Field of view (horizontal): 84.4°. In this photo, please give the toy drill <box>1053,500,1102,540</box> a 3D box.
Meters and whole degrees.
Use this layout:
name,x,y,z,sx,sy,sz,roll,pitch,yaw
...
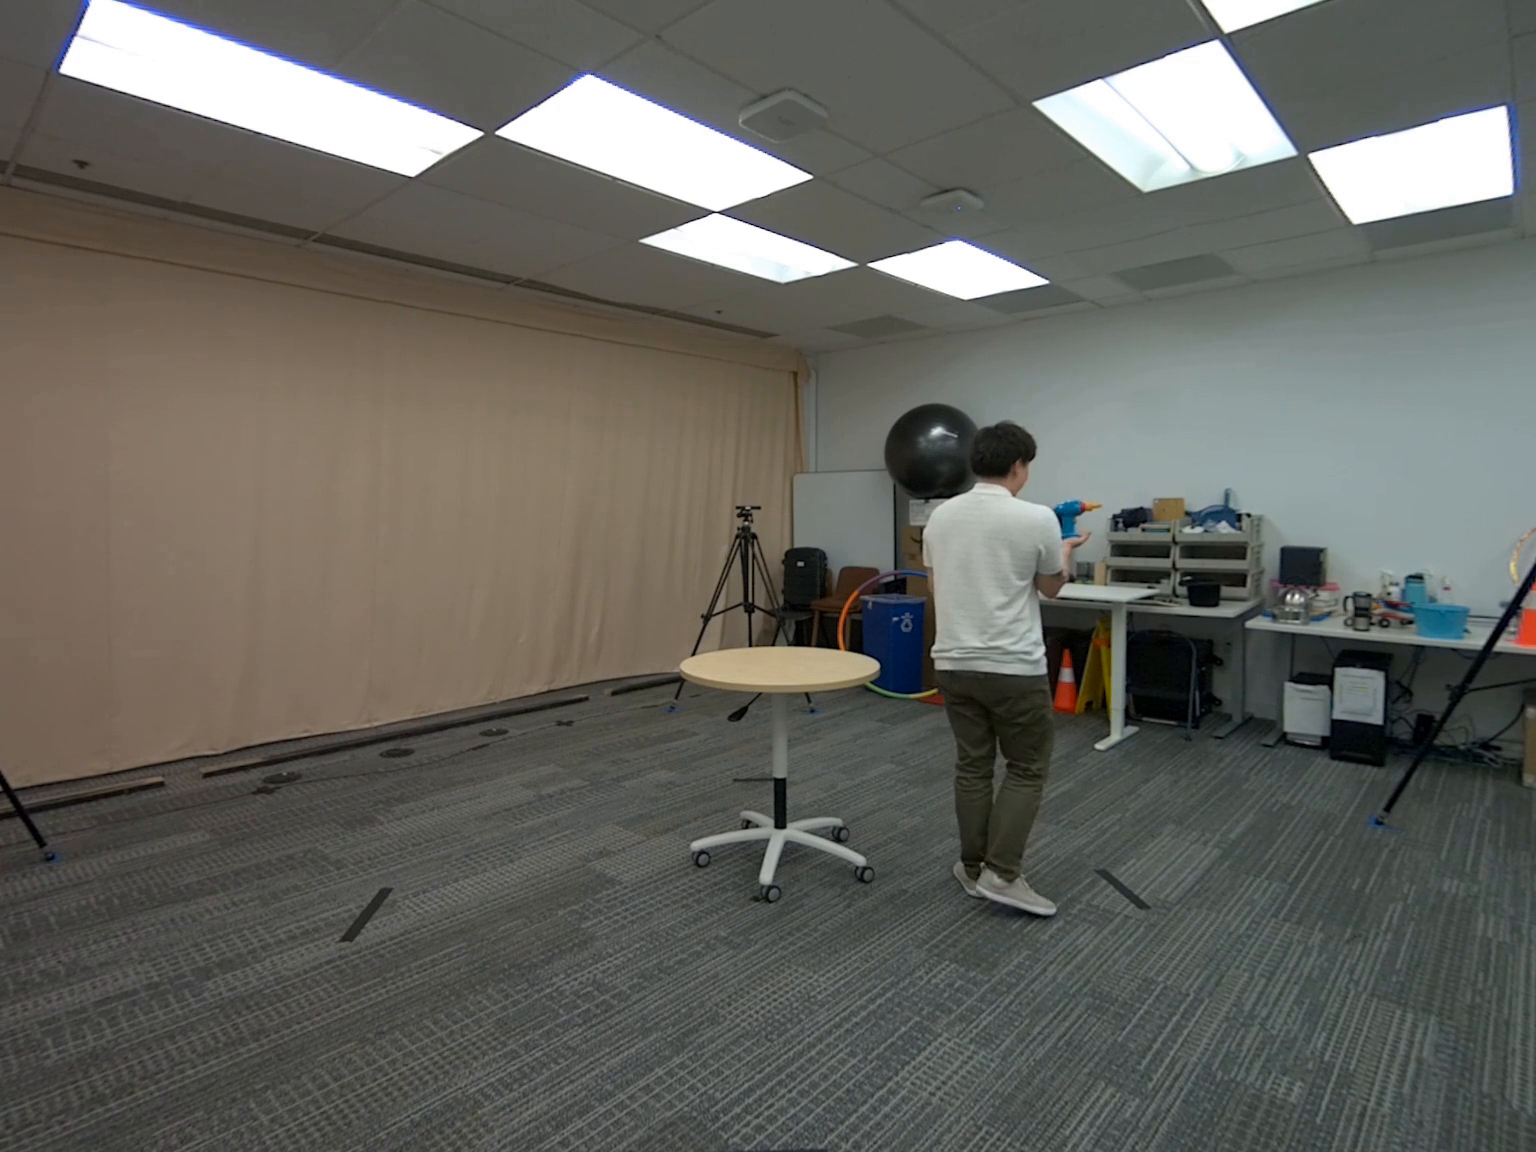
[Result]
name,x,y,z,sx,sy,sz,roll,pitch,yaw
toy drill,1.143,-0.209,3.119,0.173,0.146,0.060,-7,3,17
